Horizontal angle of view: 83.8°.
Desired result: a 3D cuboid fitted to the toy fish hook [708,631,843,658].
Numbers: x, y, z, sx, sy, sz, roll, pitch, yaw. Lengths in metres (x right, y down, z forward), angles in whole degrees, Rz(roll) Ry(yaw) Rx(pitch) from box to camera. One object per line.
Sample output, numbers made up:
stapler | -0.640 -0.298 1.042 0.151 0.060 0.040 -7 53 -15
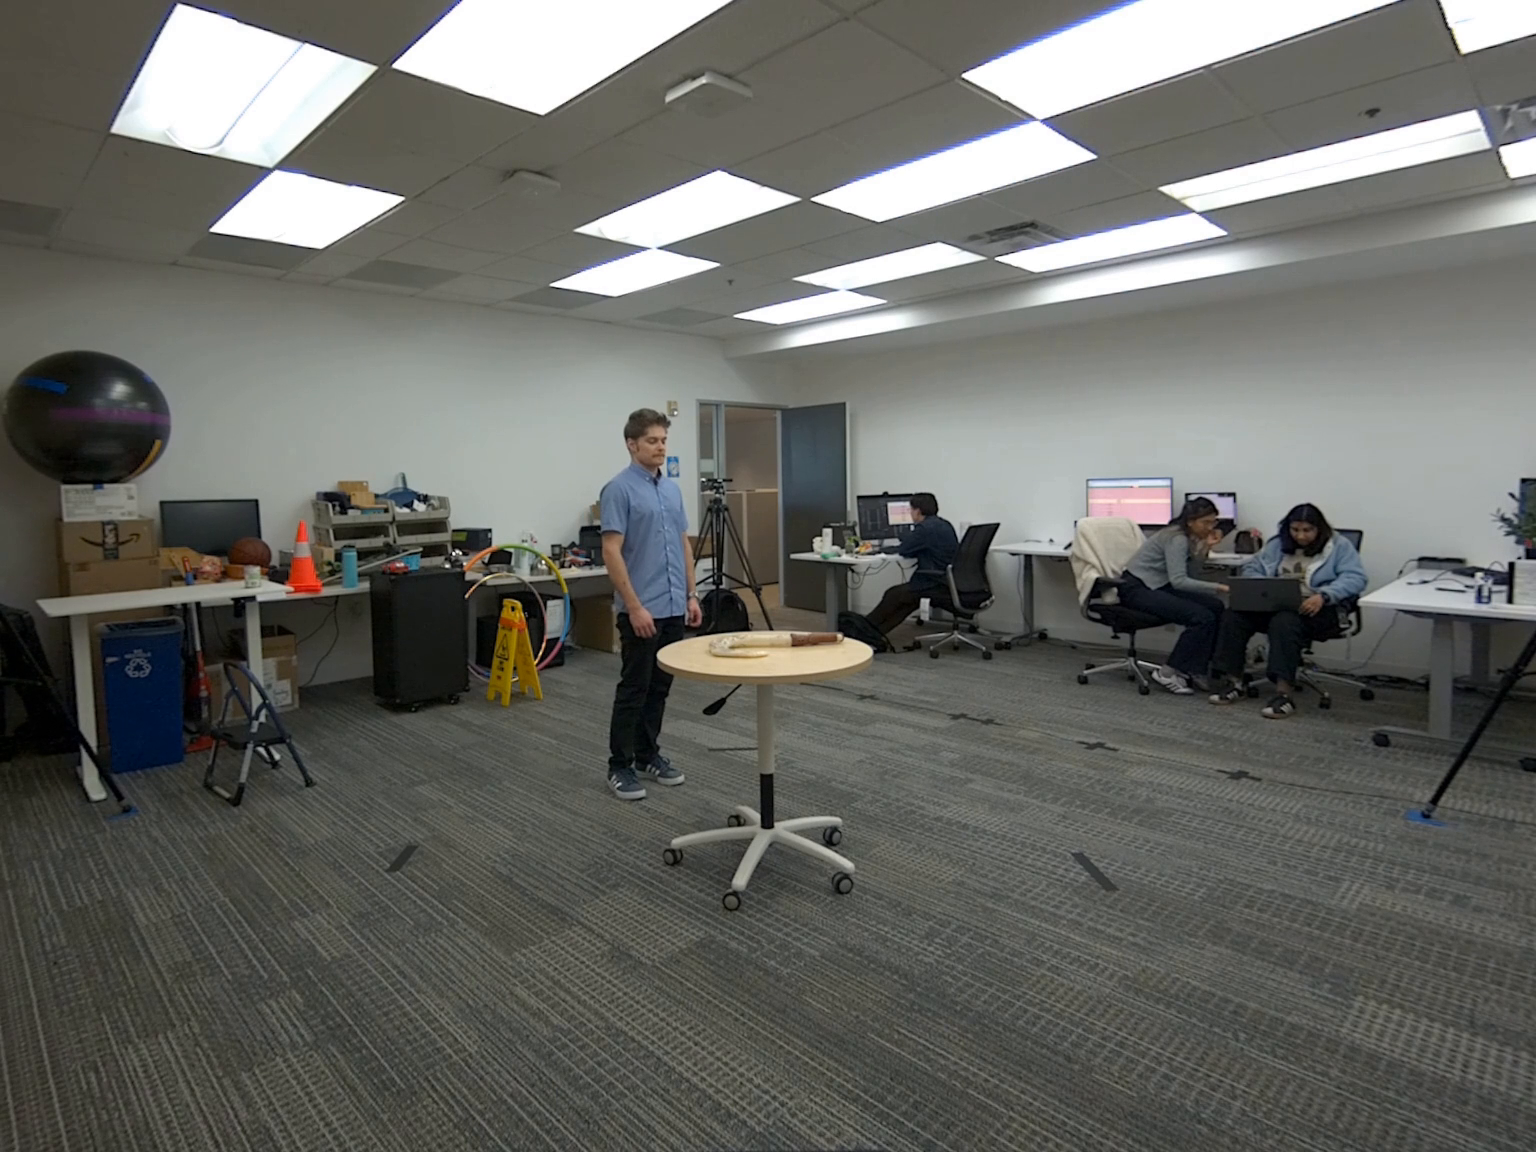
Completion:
toy fish hook | 0.039 0.252 3.061 0.502 0.048 0.229 -4 13 -9
